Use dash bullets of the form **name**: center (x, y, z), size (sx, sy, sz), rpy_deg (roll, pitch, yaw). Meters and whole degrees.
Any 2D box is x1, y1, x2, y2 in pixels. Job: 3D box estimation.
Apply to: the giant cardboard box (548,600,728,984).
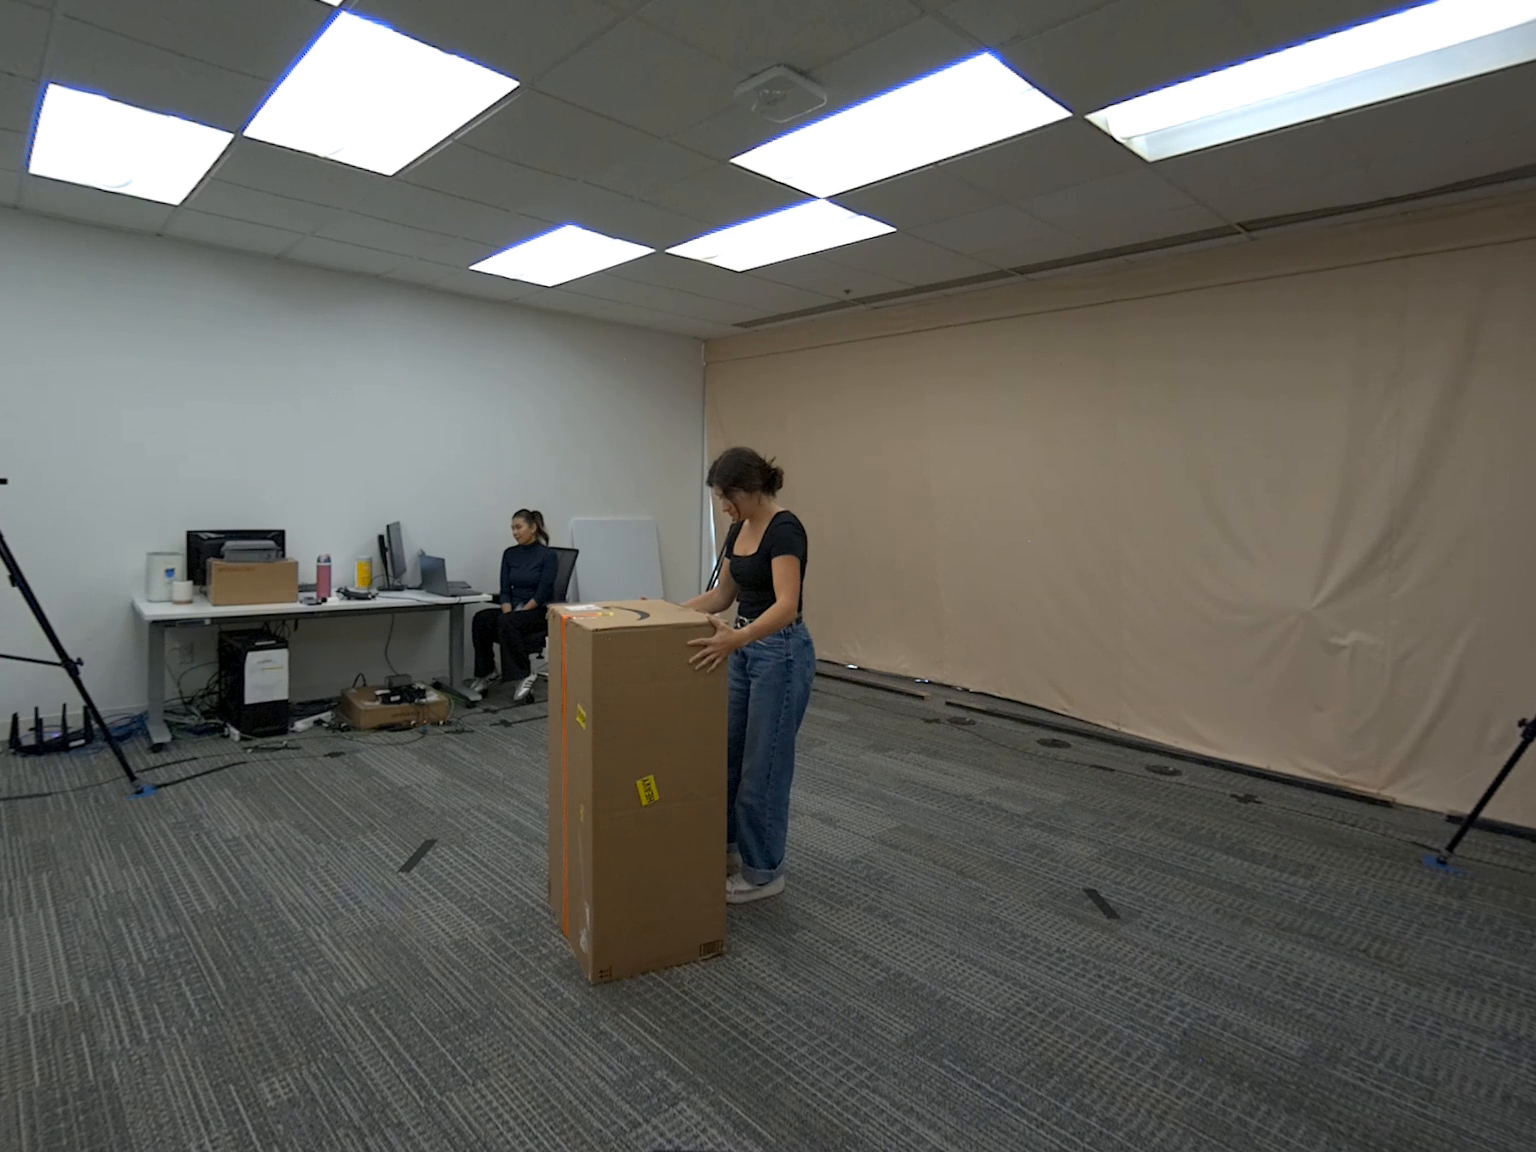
- **giant cardboard box**: center (-0.449, 0.631, 2.697), size (0.418, 1.023, 0.589), rpy_deg (-1, 4, -27)
